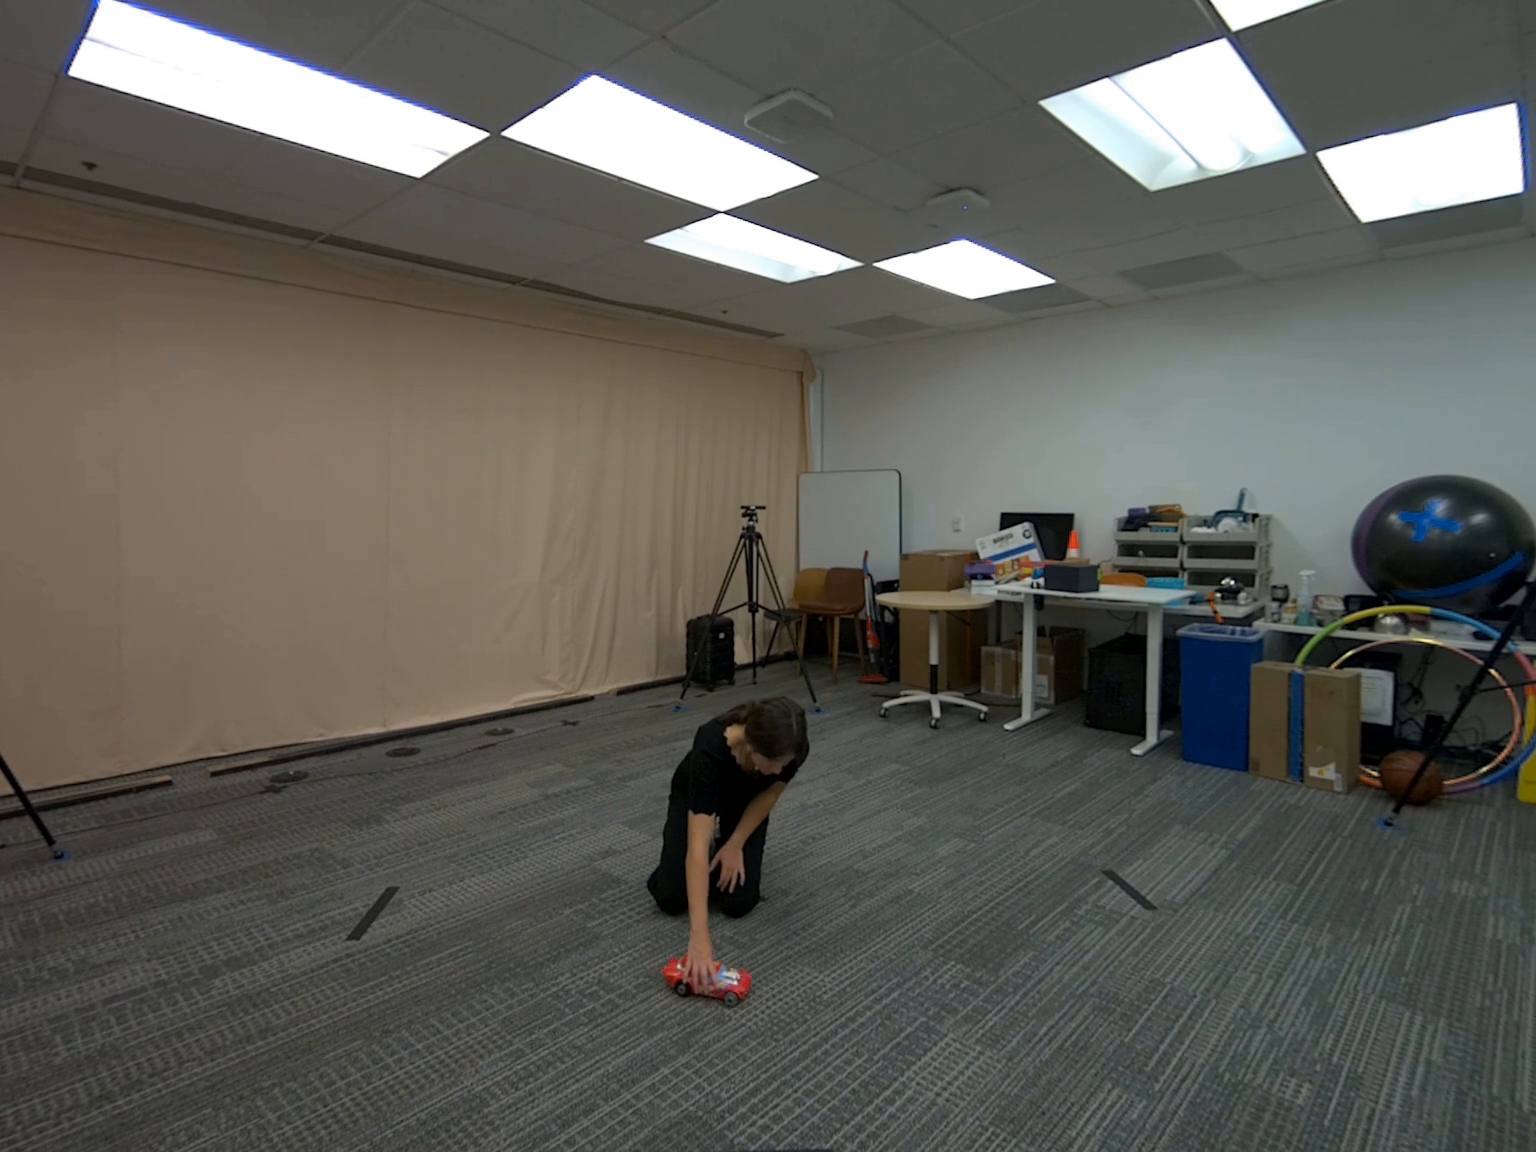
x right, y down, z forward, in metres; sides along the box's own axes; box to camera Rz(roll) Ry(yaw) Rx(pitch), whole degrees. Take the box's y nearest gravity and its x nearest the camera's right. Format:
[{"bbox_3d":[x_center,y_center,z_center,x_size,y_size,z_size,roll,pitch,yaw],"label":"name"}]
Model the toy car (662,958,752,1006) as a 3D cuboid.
[{"bbox_3d":[-0.178,1.153,2.427,0.260,0.083,0.128,12,8,17],"label":"toy car"}]
